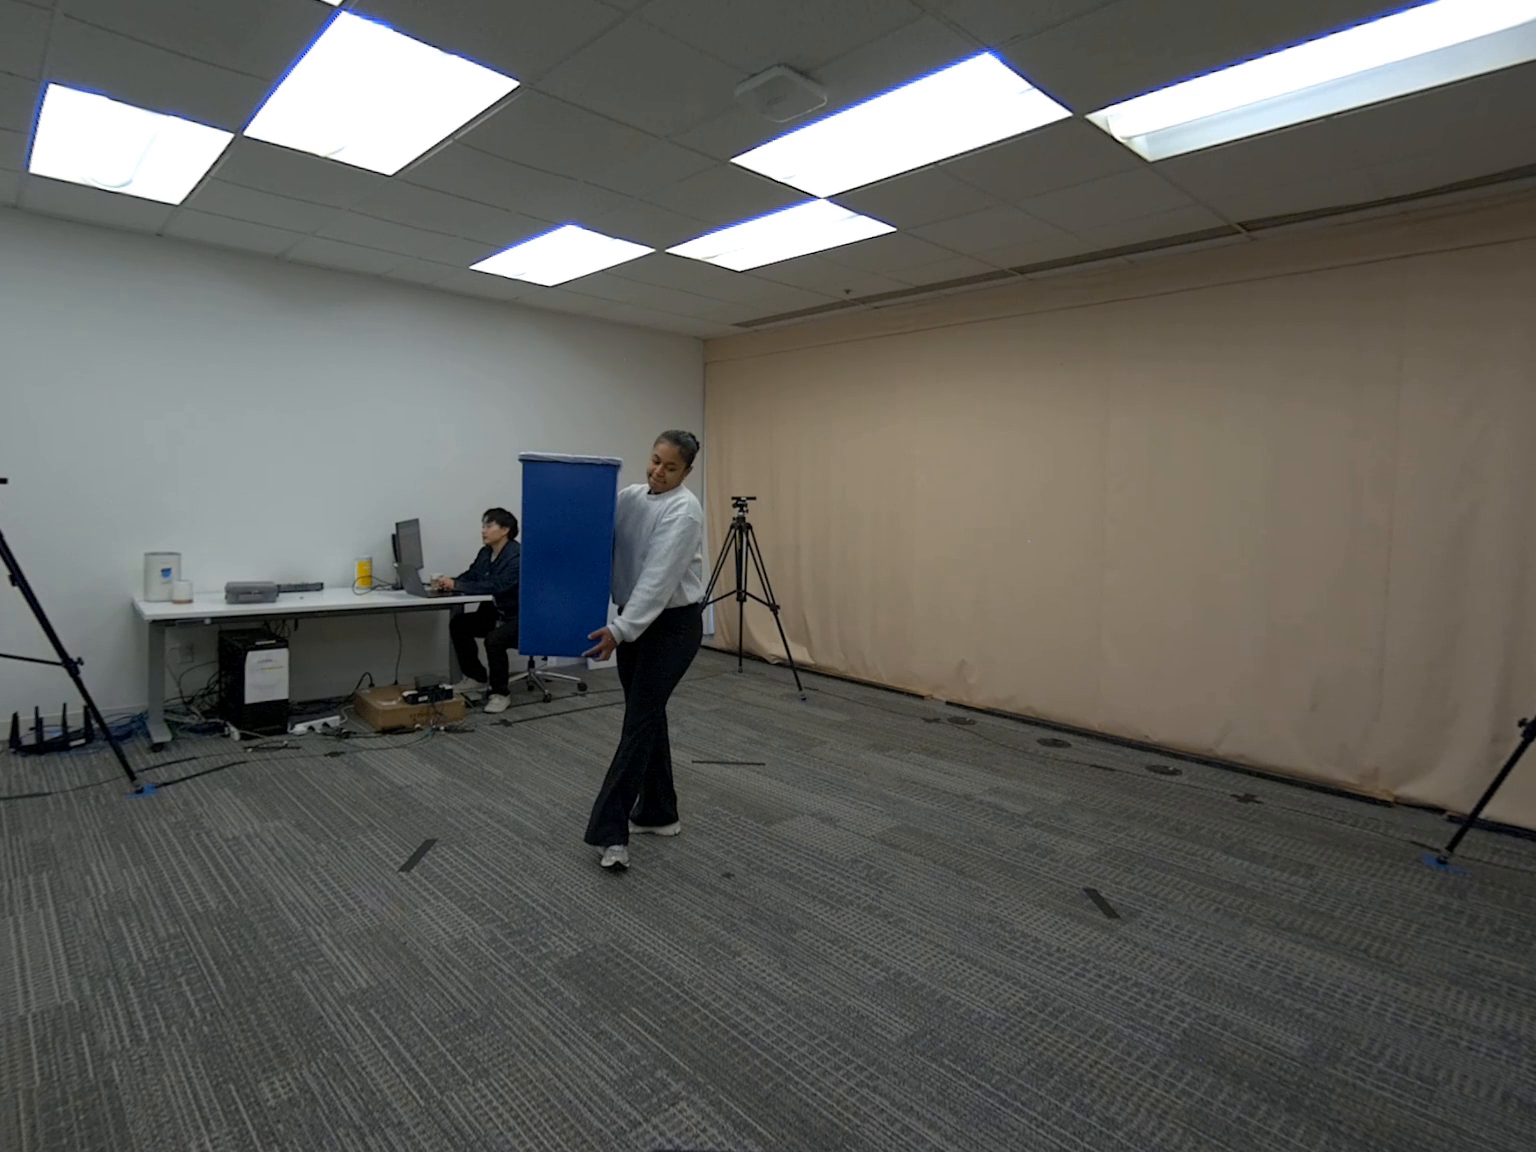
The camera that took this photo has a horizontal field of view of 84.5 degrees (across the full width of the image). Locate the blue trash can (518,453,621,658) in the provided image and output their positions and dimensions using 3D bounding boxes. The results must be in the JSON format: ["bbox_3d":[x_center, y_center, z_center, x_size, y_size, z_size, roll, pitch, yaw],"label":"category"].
[{"bbox_3d":[-0.753,-0.077,3.139,0.375,0.714,0.376,3,0,-9],"label":"blue trash can"}]
